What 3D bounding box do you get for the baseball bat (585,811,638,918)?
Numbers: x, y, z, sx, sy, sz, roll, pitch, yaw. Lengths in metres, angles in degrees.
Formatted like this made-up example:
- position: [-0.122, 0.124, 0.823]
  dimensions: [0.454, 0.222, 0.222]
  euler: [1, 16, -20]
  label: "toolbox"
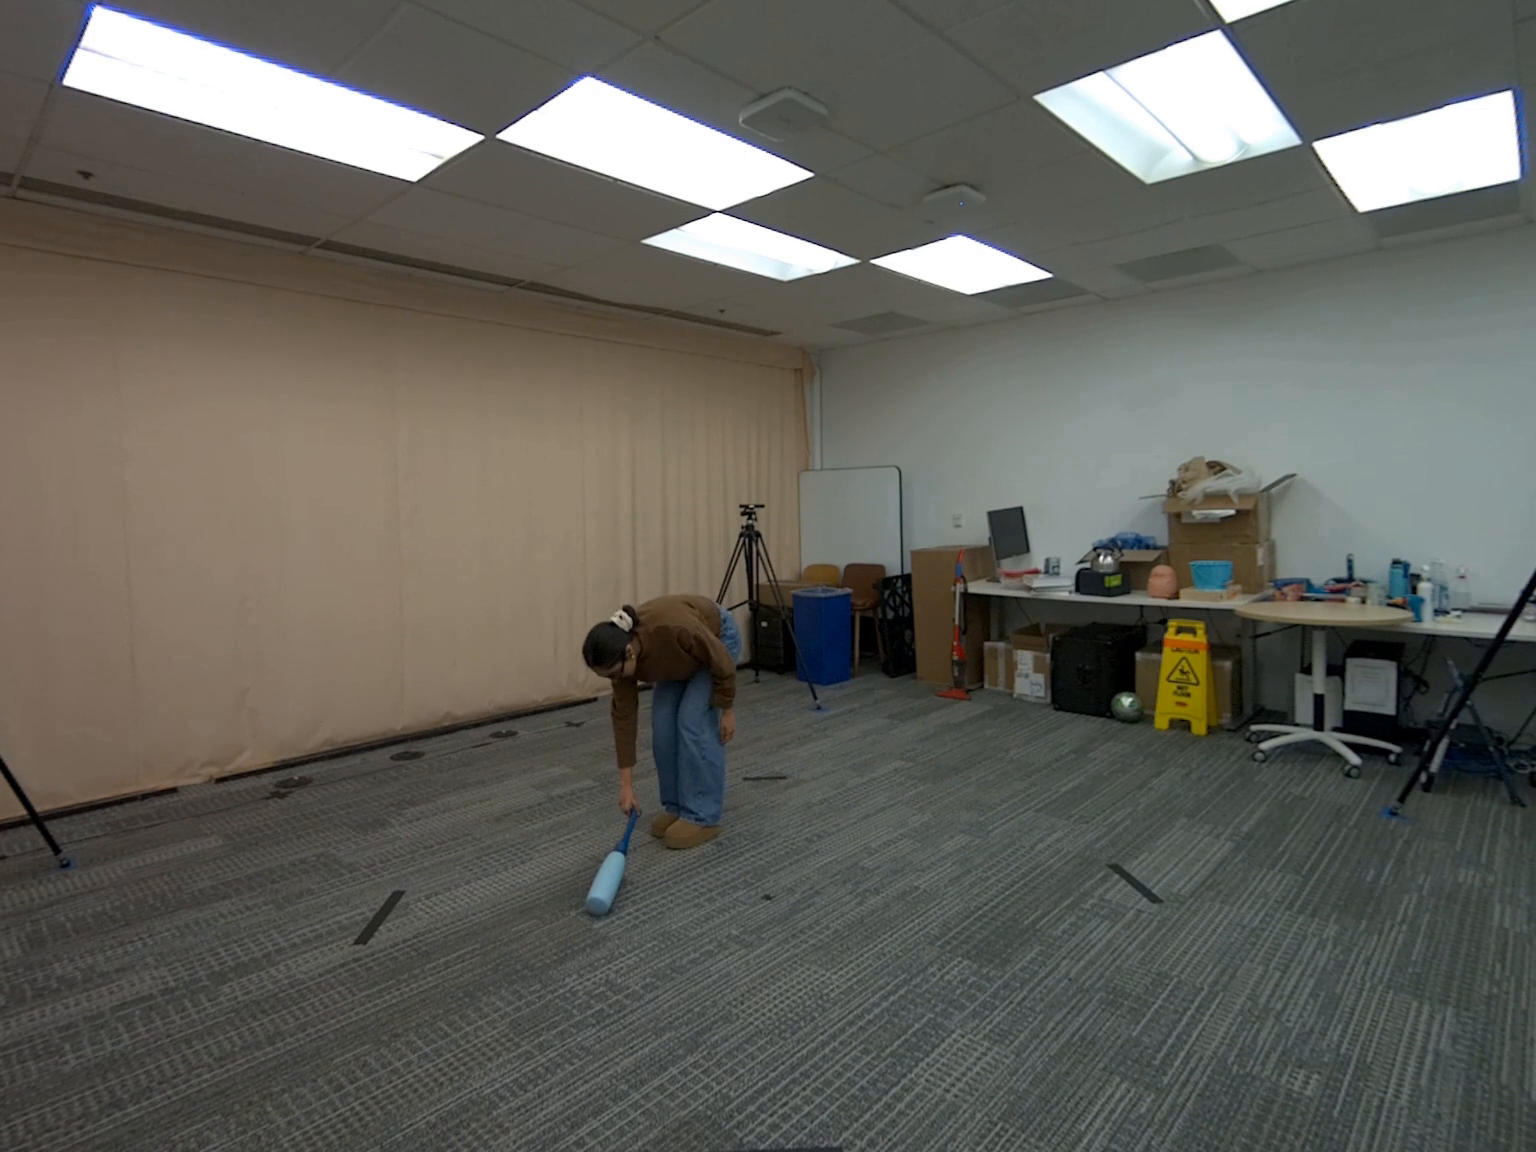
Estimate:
- position: [-0.554, 1.025, 3.114]
  dimensions: [0.090, 0.088, 0.544]
  euler: [-1, 19, 7]
  label: "baseball bat"
